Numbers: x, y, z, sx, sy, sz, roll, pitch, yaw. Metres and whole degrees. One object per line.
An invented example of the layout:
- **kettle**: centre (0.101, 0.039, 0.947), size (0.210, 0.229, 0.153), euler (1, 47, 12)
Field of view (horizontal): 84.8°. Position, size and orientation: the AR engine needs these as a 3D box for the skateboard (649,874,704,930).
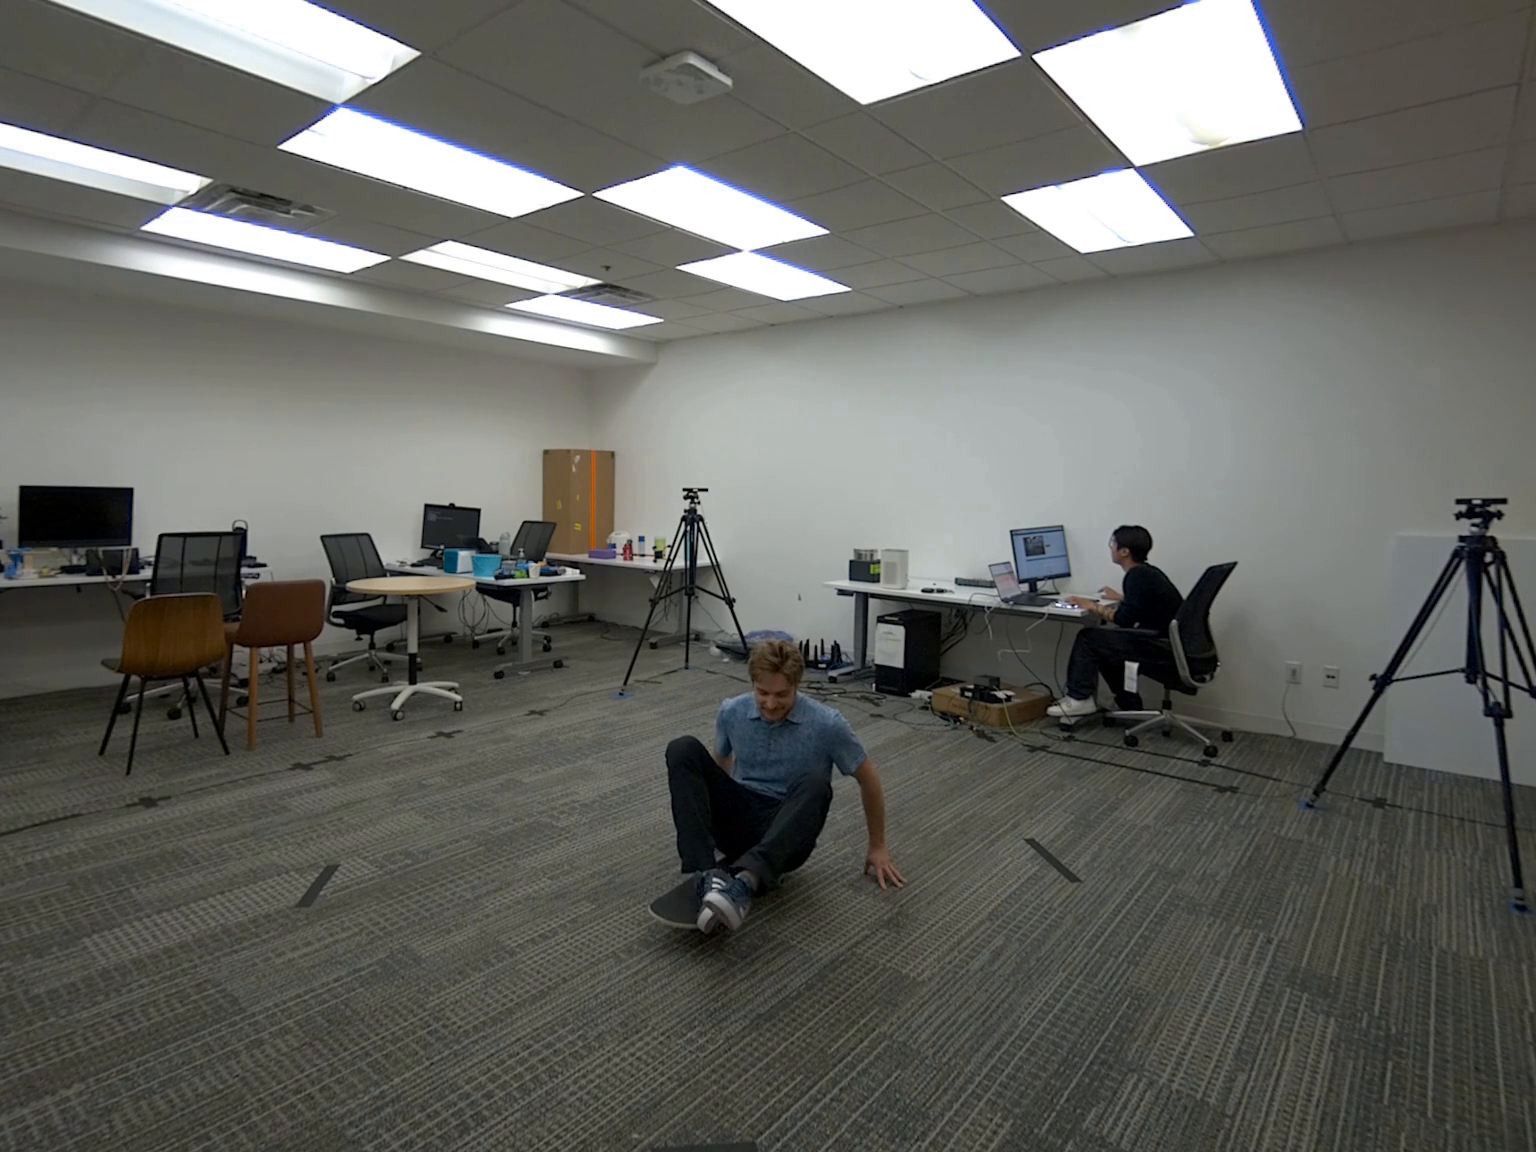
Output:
- **skateboard**: centre (-0.123, 1.043, 2.837), size (0.199, 0.110, 0.765), euler (8, 7, 28)
